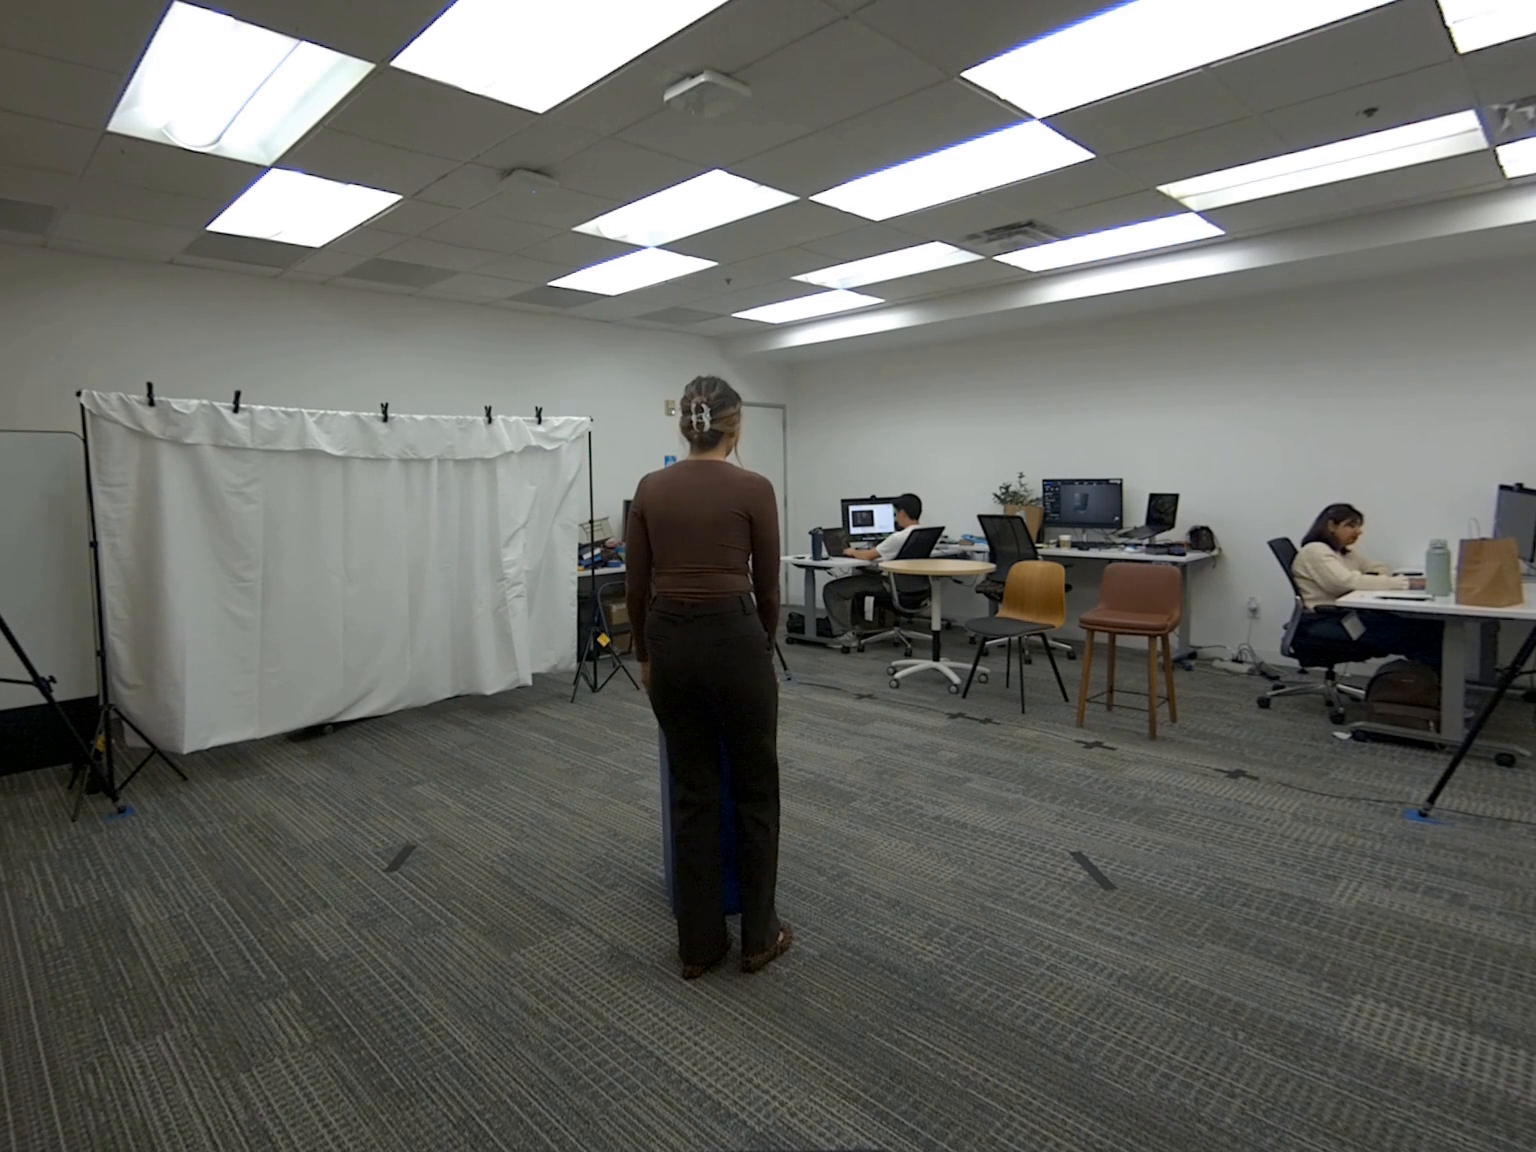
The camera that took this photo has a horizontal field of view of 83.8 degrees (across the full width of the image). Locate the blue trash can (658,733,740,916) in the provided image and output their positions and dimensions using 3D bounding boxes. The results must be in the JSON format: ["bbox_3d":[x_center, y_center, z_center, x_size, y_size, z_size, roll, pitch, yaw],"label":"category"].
[{"bbox_3d":[-0.177,0.710,2.878,0.370,0.712,0.383,-2,3,-12],"label":"blue trash can"}]
